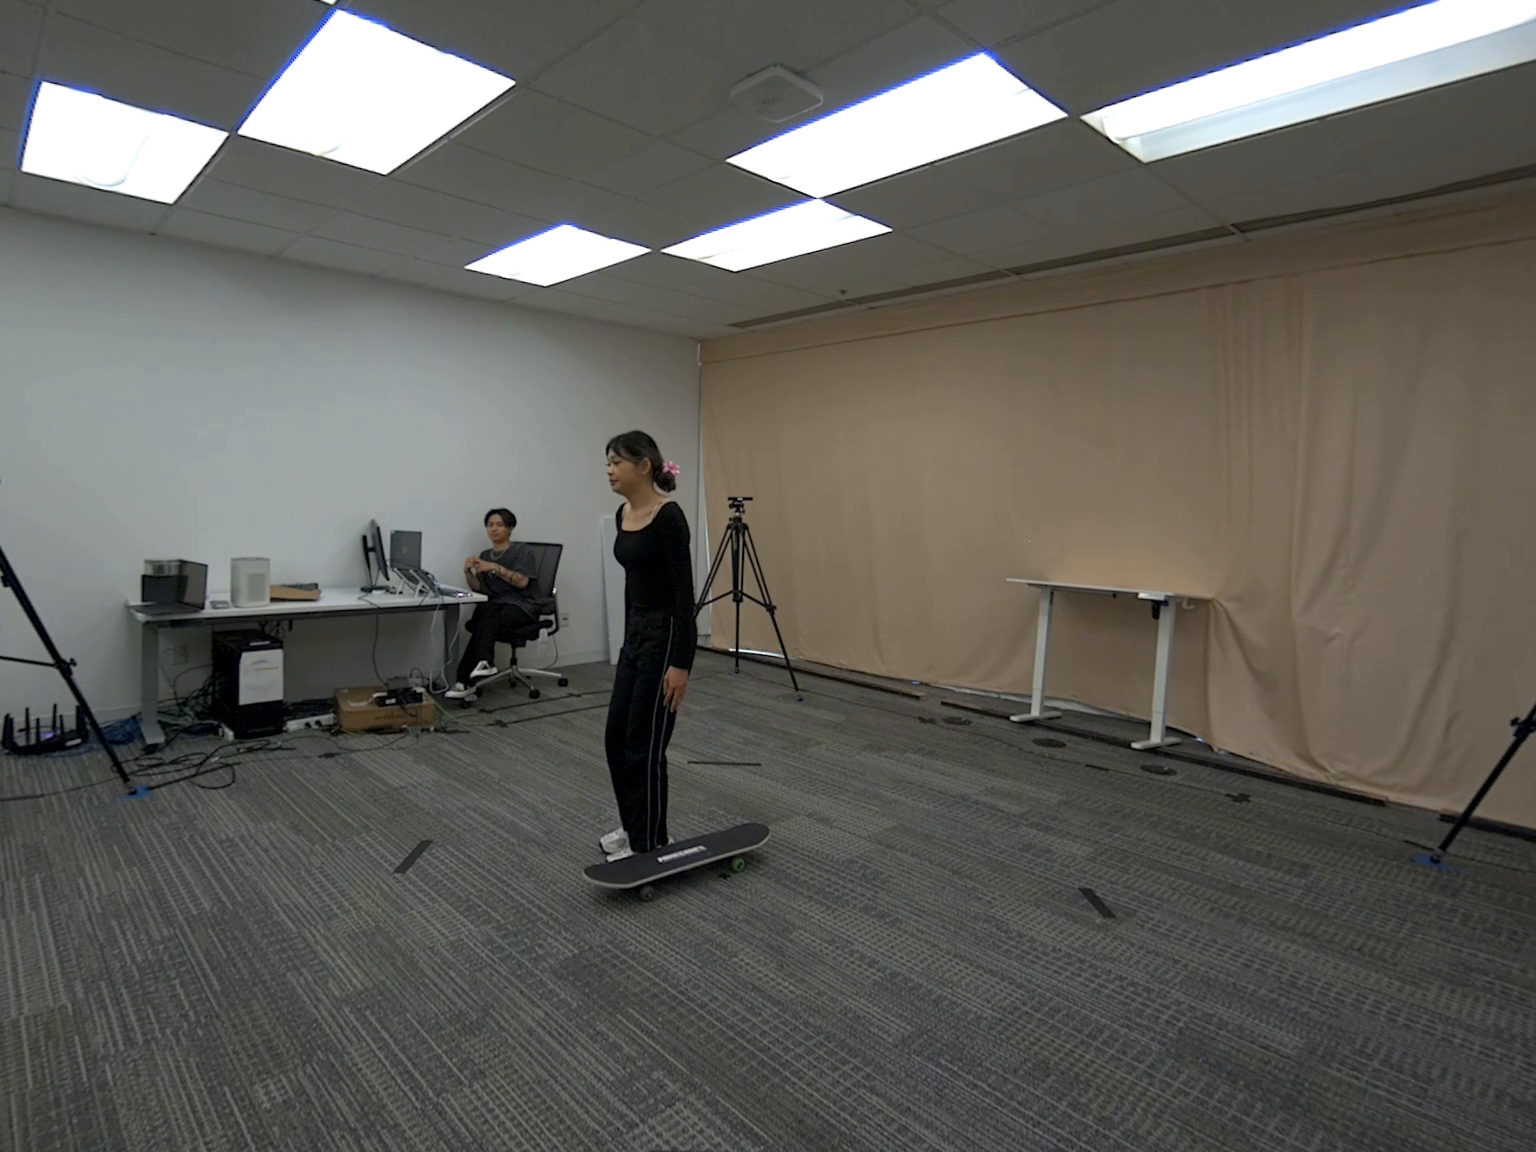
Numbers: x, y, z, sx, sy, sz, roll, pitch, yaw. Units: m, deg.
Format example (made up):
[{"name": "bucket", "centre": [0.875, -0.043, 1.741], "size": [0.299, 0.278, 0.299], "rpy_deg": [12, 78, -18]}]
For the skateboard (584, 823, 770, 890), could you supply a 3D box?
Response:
[{"name": "skateboard", "centre": [-0.317, 1.048, 3.071], "size": [0.768, 0.110, 0.198], "rpy_deg": [-3, 7, -39]}]
